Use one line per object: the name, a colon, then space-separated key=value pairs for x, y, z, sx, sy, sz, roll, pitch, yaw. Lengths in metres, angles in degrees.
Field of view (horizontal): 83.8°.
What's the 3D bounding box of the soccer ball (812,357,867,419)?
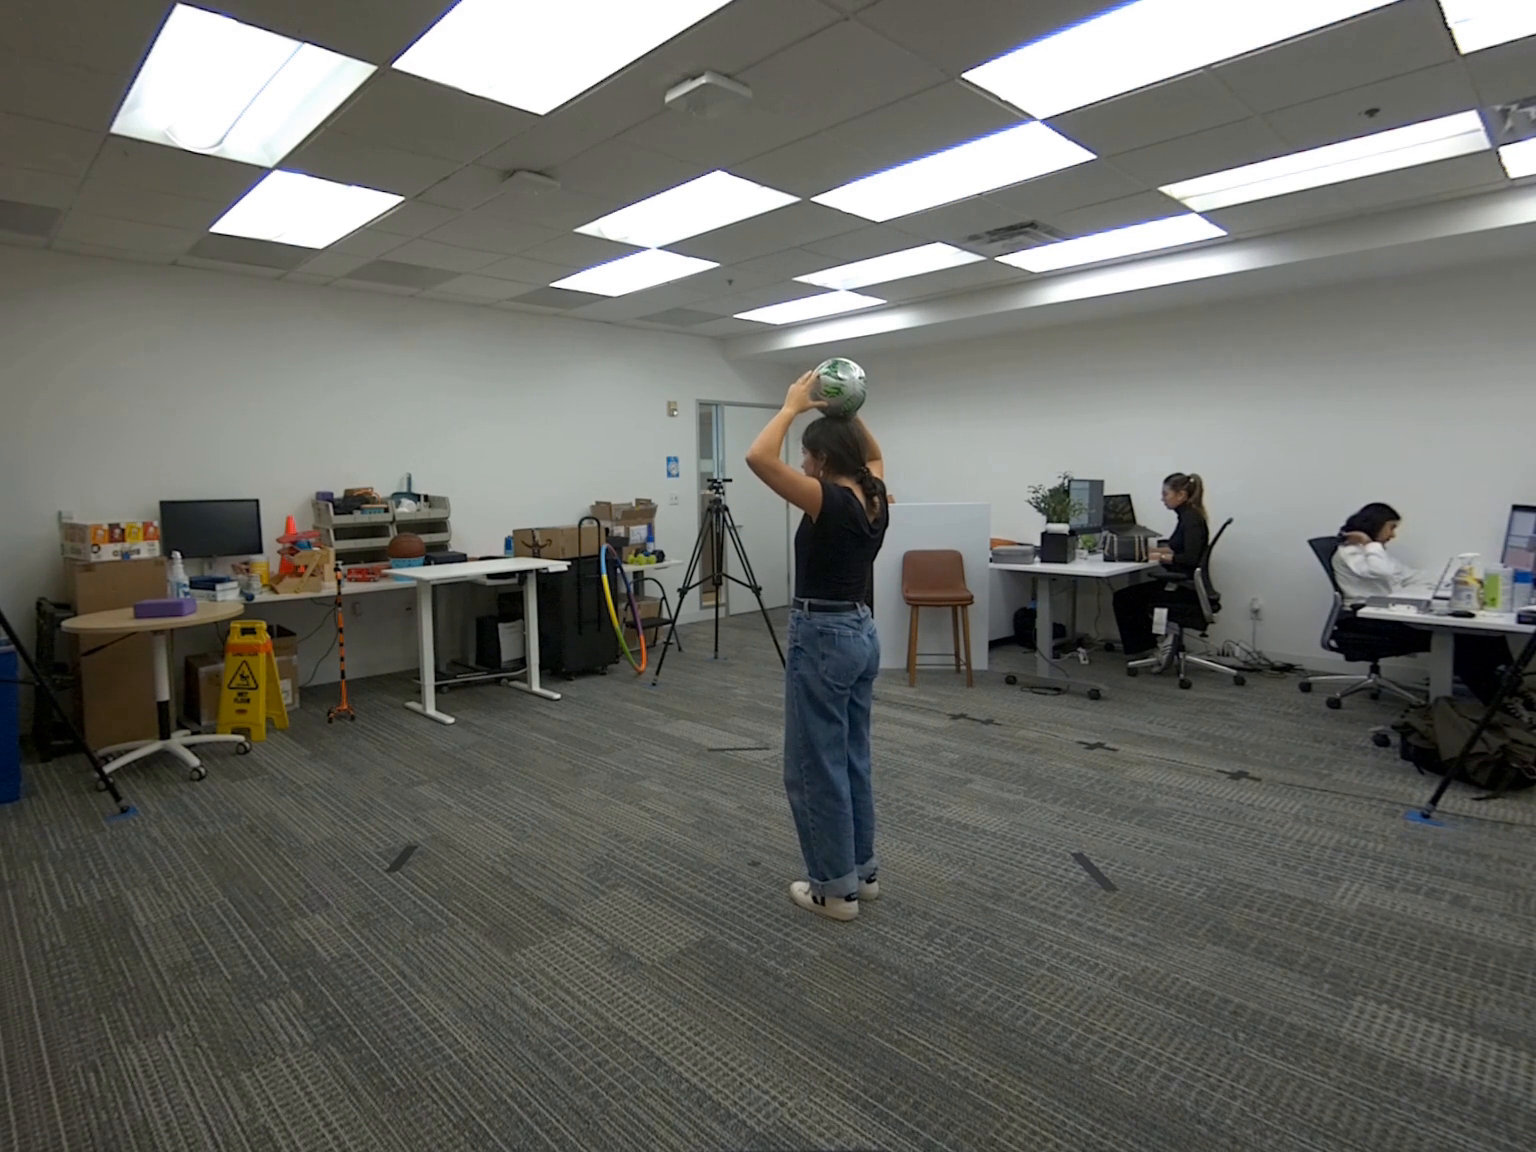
soccer ball: x=0.223 y=-0.595 z=2.725 sx=0.187 sy=0.187 sz=0.188 roll=-1 pitch=5 yaw=-2
